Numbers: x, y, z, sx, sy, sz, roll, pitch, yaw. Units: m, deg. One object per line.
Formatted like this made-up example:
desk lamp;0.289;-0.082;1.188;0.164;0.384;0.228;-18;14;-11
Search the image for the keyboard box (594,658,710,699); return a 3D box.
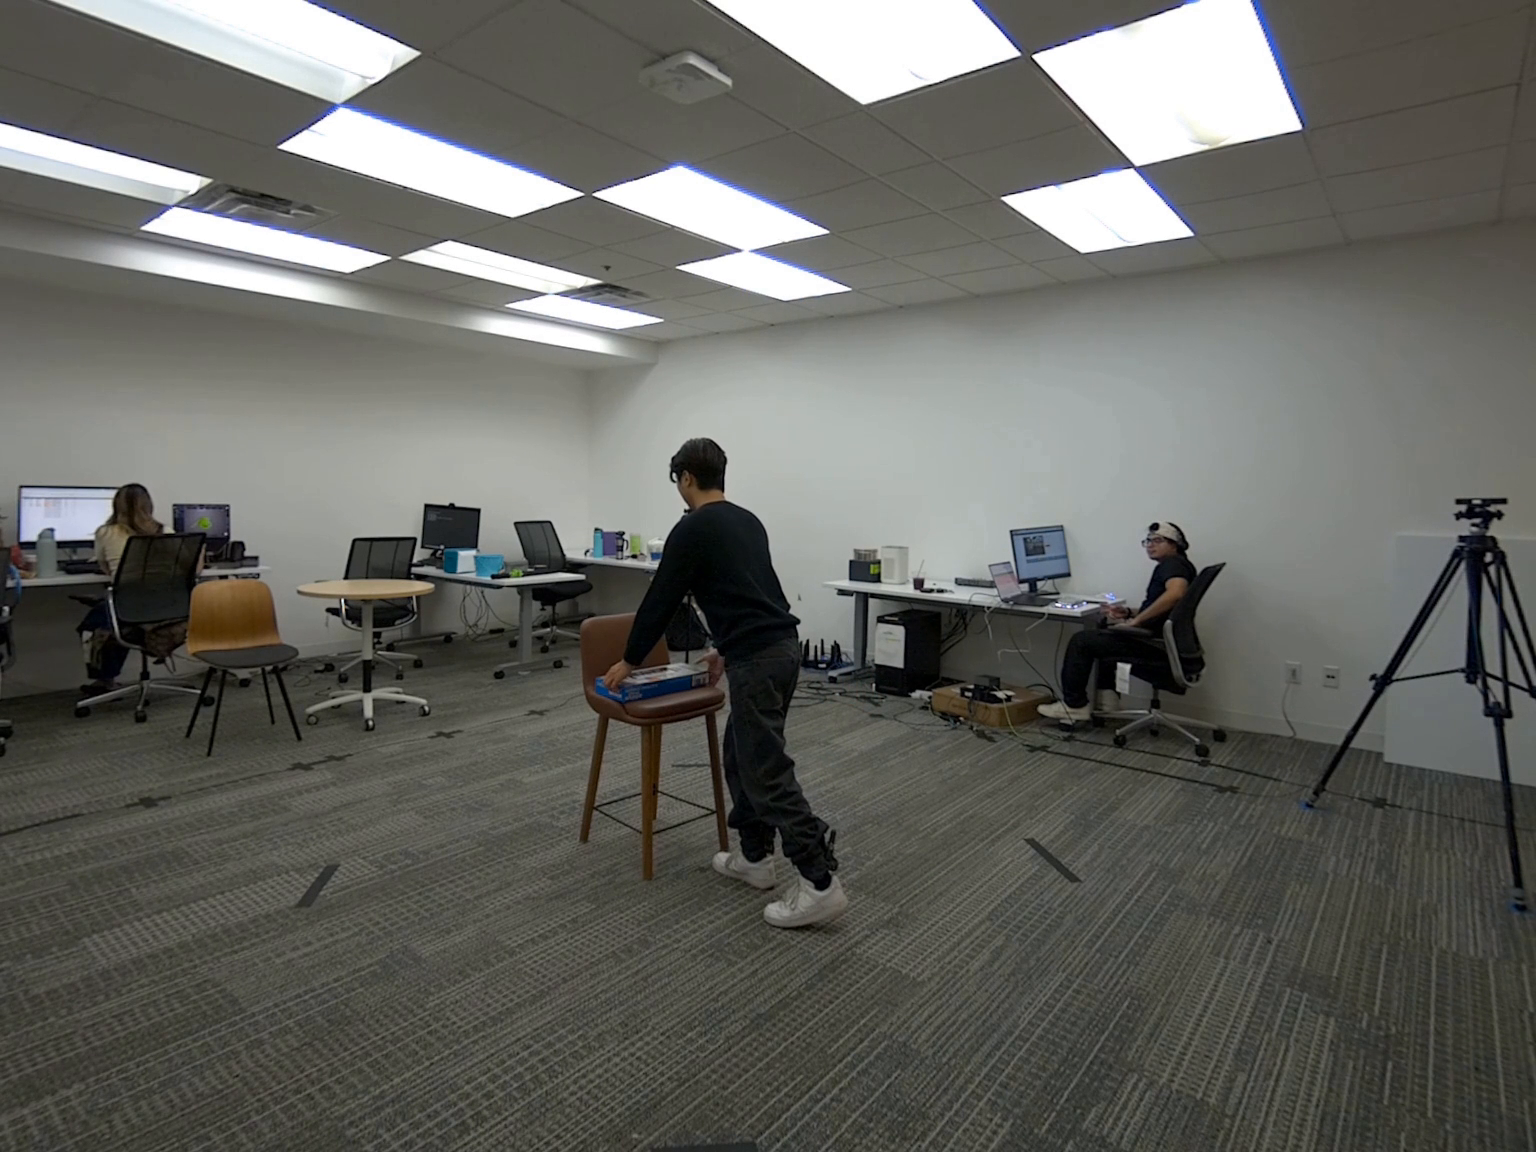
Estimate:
keyboard box;-0.448;0.393;3.284;0.182;0.059;0.424;10;10;43
